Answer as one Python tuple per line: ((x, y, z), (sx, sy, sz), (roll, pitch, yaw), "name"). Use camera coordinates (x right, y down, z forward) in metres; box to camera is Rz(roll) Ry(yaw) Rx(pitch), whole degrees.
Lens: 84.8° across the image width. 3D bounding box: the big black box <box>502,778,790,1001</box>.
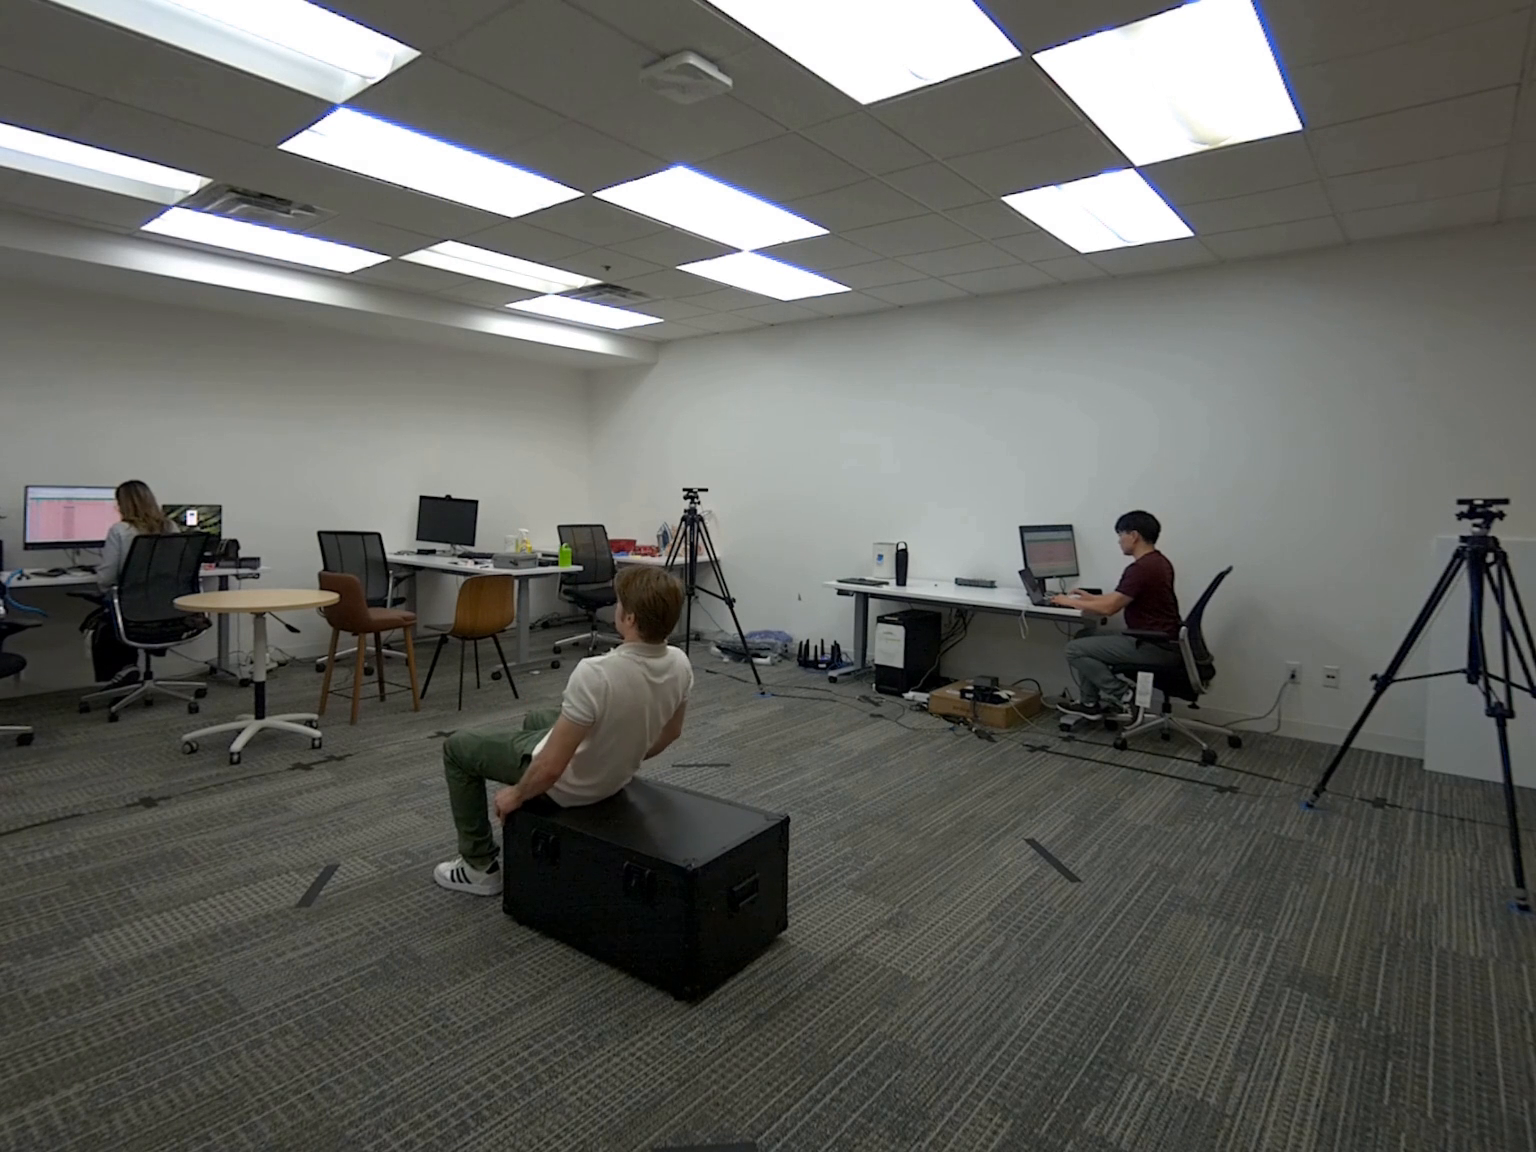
((-0.426, 0.914, 2.701), (0.896, 0.384, 0.509), (4, 6, 35), "big black box")
